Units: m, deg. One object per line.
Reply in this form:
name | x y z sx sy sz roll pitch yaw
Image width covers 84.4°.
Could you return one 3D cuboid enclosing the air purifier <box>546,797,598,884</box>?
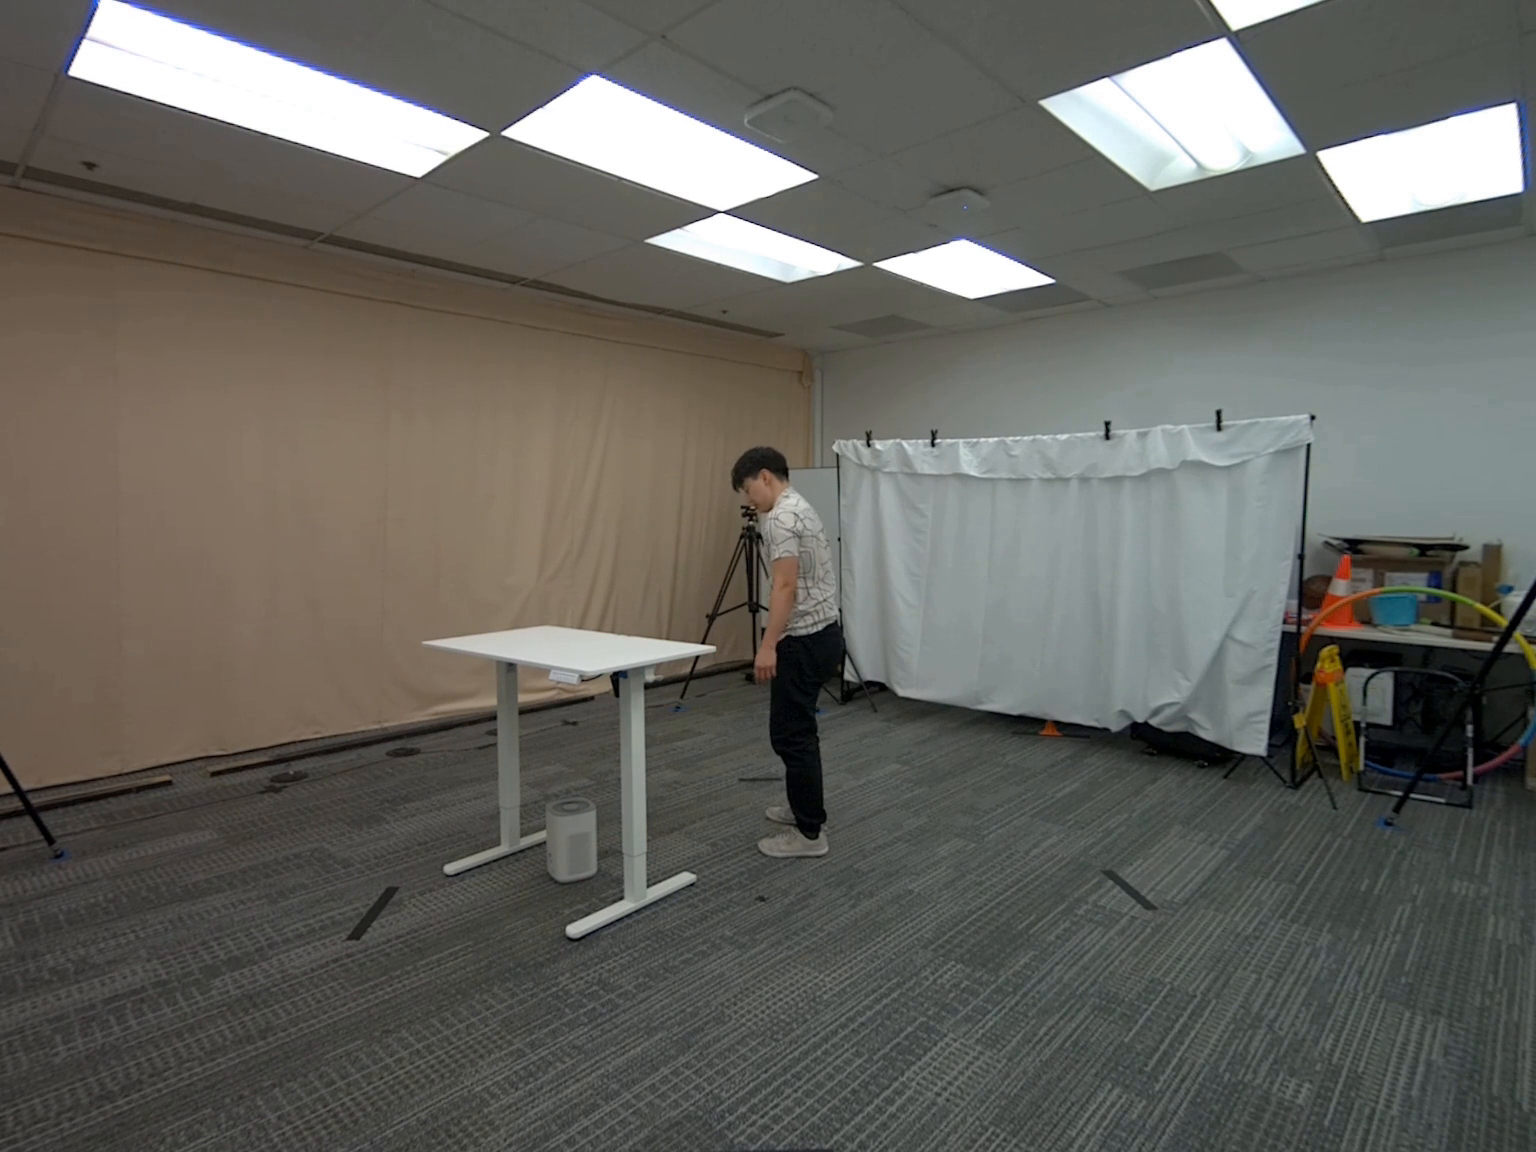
air purifier | -0.746 1.005 3.192 0.167 0.265 0.176 -2 3 -33
